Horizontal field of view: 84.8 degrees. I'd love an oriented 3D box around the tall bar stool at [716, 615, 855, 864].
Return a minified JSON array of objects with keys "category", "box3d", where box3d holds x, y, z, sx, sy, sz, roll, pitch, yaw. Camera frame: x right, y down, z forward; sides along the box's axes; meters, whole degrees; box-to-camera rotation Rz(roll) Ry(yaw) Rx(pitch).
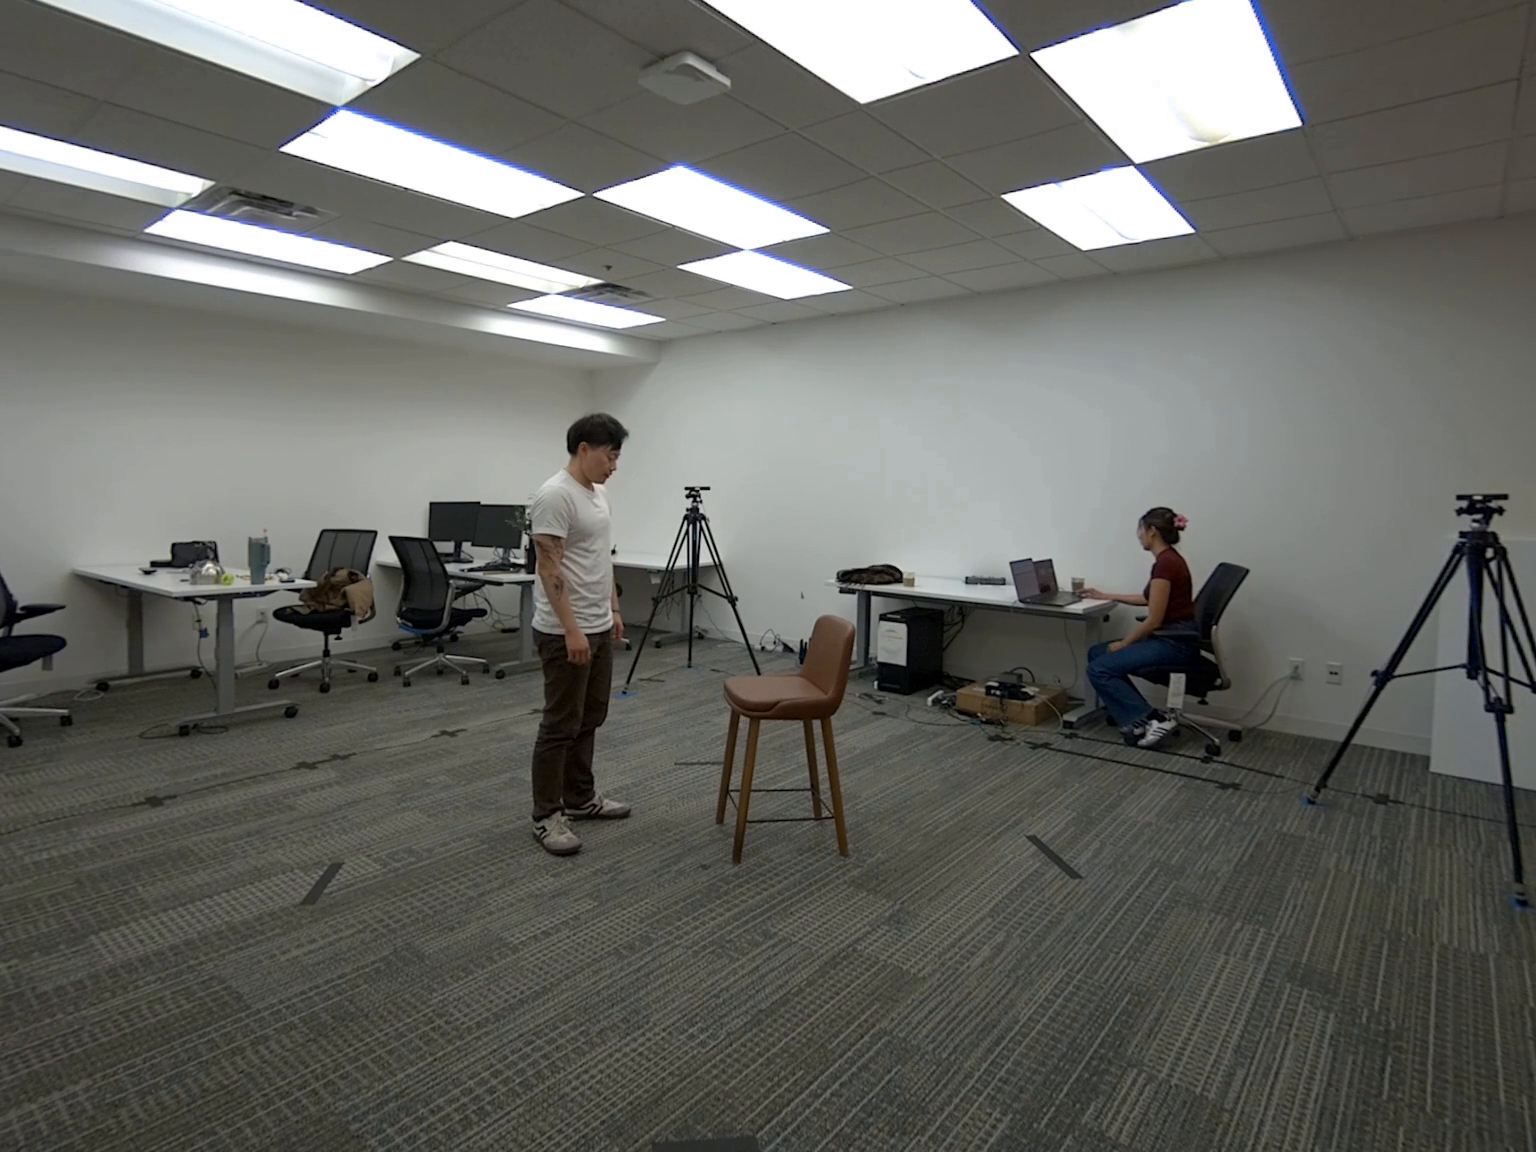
[{"category":"tall bar stool","box3d":[0.051,0.610,3.360,0.462,0.887,0.464,2,3,-12]}]
